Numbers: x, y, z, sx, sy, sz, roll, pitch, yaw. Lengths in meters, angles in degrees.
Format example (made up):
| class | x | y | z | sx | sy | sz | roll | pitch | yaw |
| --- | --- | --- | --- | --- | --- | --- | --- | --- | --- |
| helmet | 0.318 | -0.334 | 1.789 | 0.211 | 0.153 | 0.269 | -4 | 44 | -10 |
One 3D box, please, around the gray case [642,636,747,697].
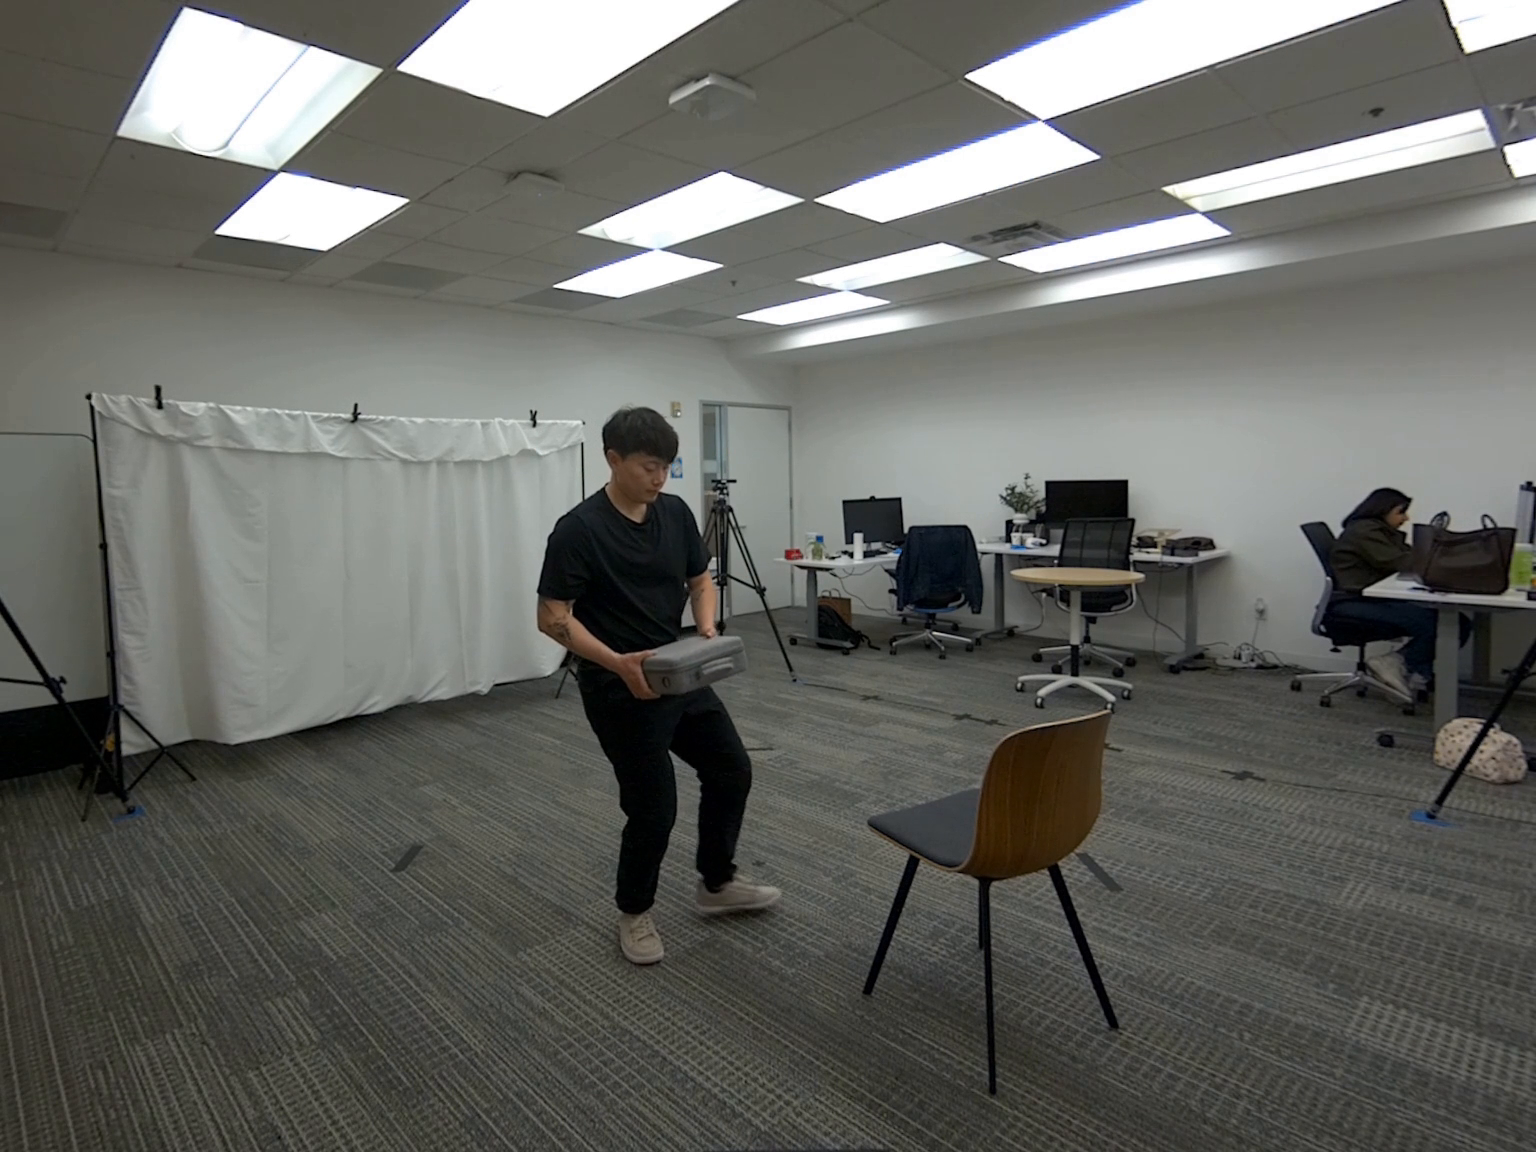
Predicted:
| class | x | y | z | sx | sy | sz | roll | pitch | yaw |
| --- | --- | --- | --- | --- | --- | --- | --- | --- | --- |
| gray case | -0.211 | 0.236 | 2.348 | 0.251 | 0.104 | 0.267 | -9 | 2 | -37 |
